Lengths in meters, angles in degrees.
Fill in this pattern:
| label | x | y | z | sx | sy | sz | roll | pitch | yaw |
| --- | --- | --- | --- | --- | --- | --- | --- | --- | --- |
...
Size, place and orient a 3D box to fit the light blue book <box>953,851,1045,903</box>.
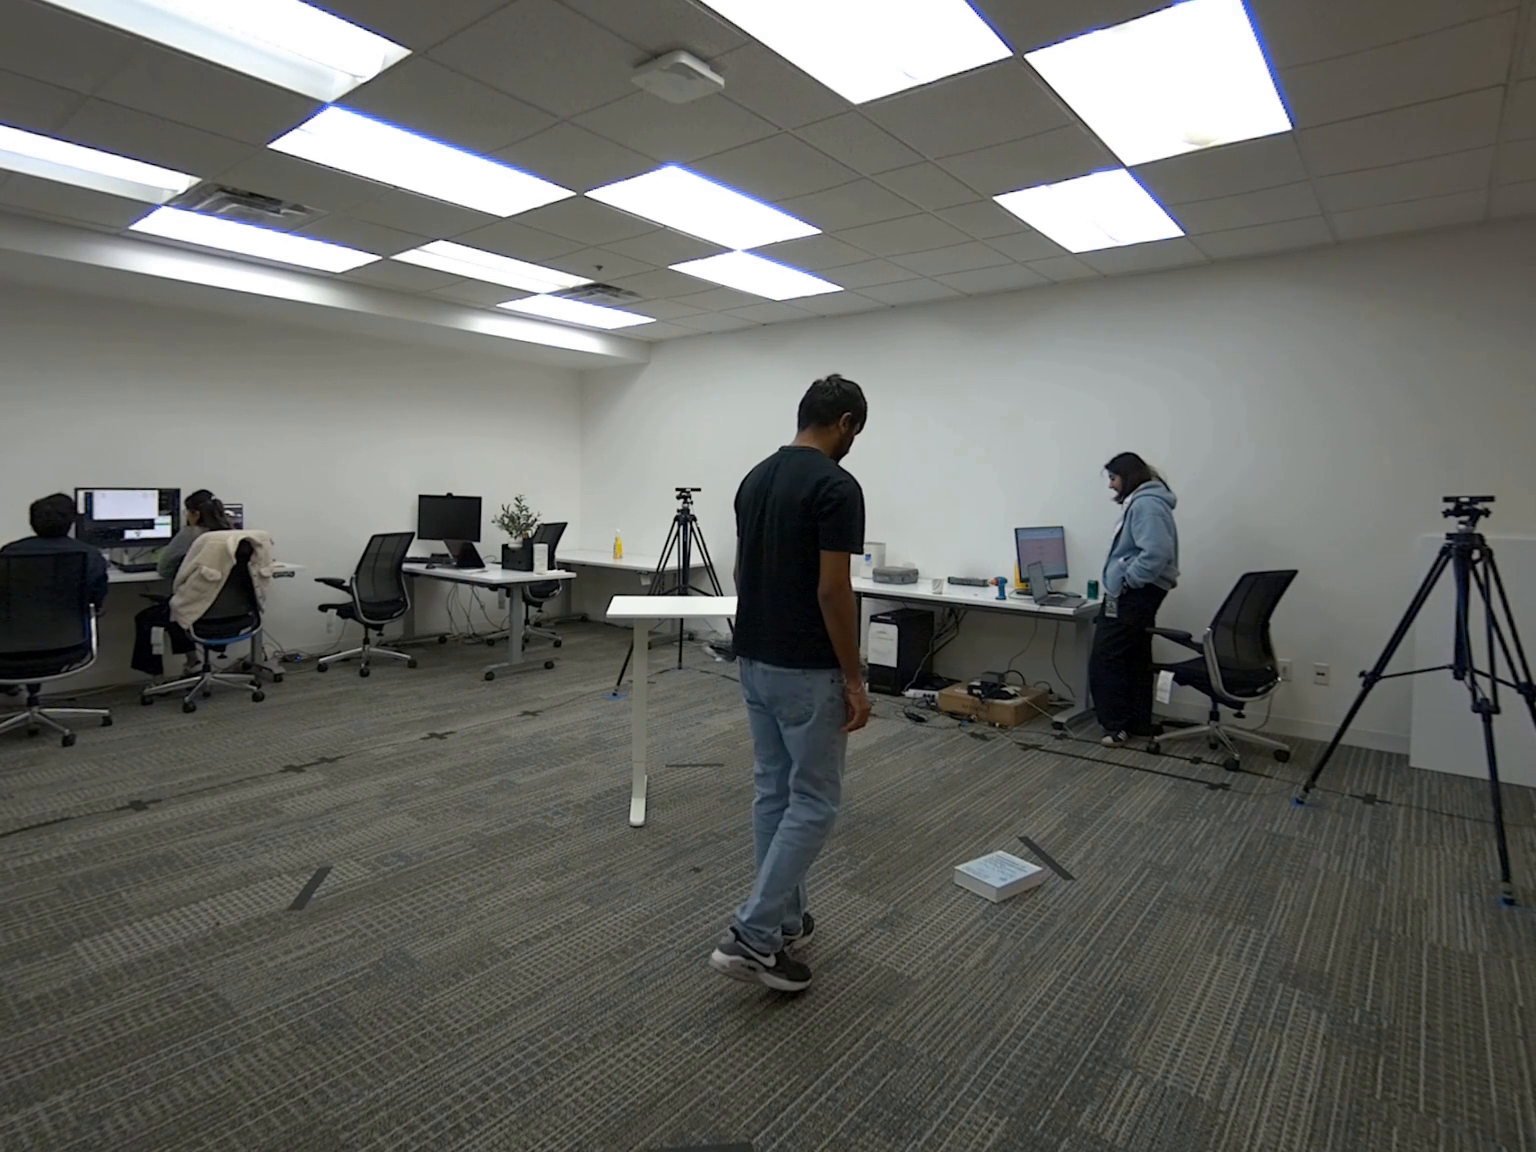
| label | x | y | z | sx | sy | sz | roll | pitch | yaw |
| --- | --- | --- | --- | --- | --- | --- | --- | --- | --- |
| light blue book | 0.819 | 1.065 | 3.045 | 0.253 | 0.059 | 0.198 | -4 | 8 | -37 |
